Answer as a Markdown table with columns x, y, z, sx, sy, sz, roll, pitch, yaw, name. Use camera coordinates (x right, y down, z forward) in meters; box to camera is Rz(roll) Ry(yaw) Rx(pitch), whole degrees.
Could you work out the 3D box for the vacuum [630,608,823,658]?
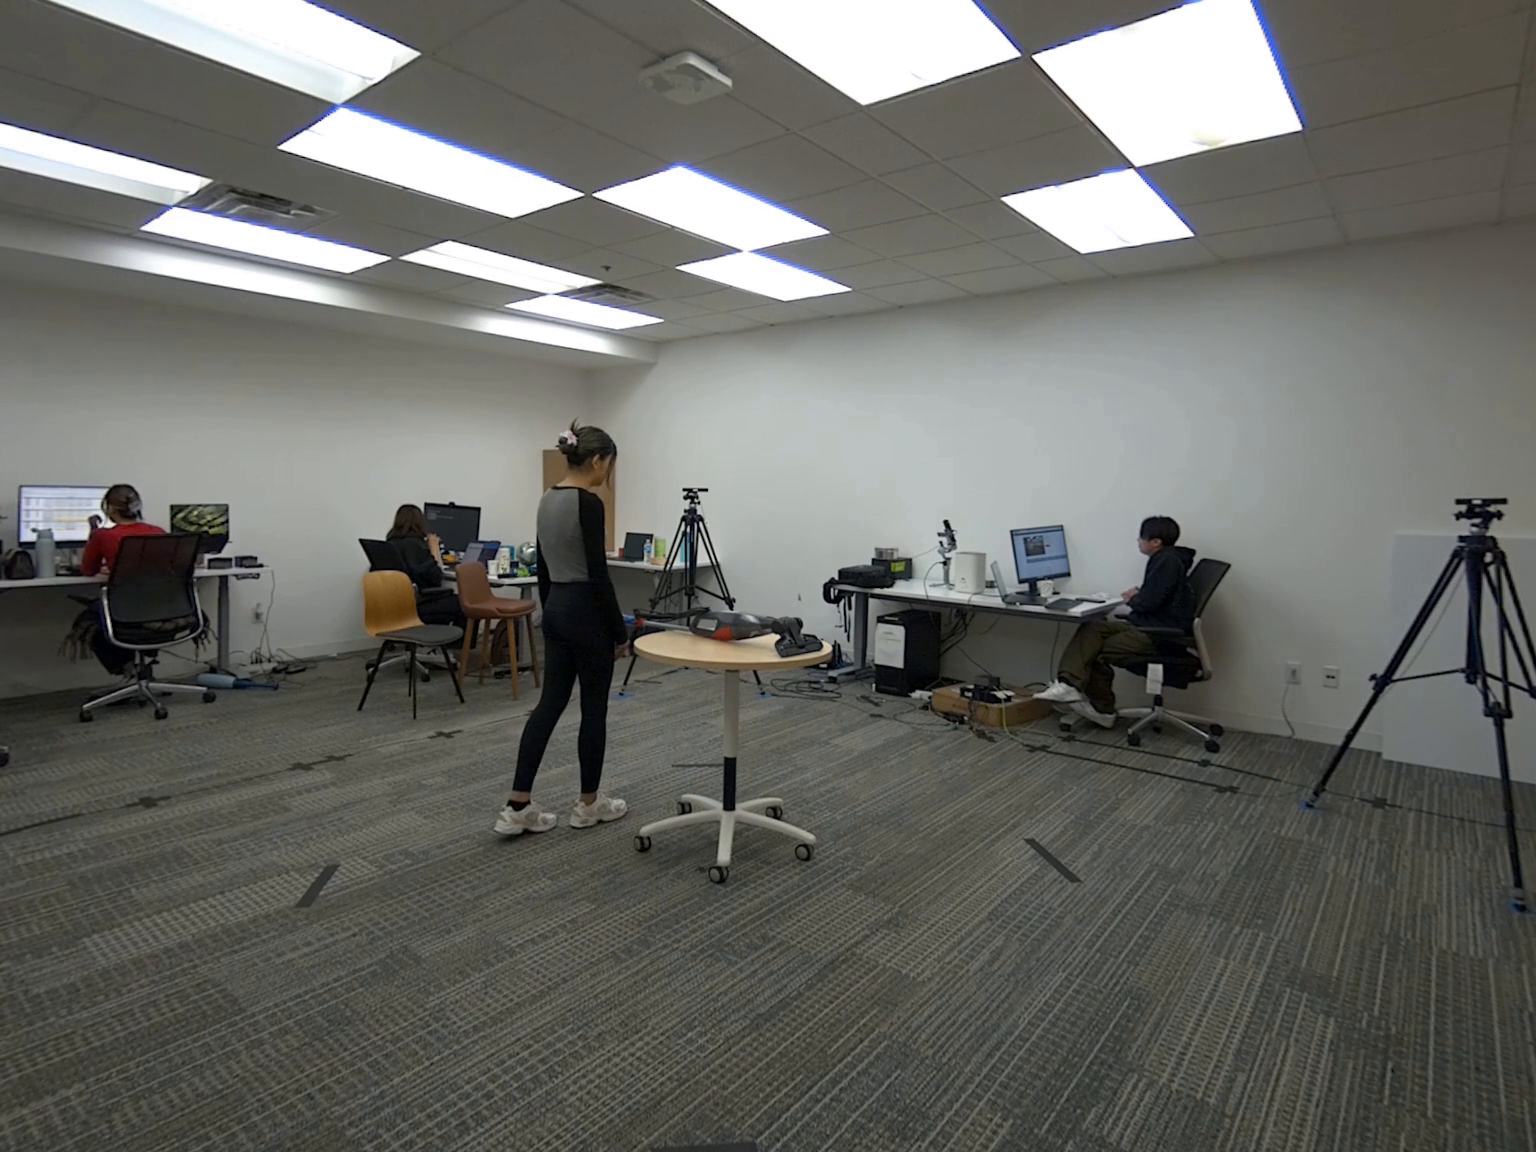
| x | y | z | sx | sy | sz | roll | pitch | yaw | name |
| --- | --- | --- | --- | --- | --- | --- | --- | --- | --- |
| -0.296 | 0.191 | 3.493 | 1.085 | 0.143 | 0.245 | 6 | 6 | 42 | vacuum |
